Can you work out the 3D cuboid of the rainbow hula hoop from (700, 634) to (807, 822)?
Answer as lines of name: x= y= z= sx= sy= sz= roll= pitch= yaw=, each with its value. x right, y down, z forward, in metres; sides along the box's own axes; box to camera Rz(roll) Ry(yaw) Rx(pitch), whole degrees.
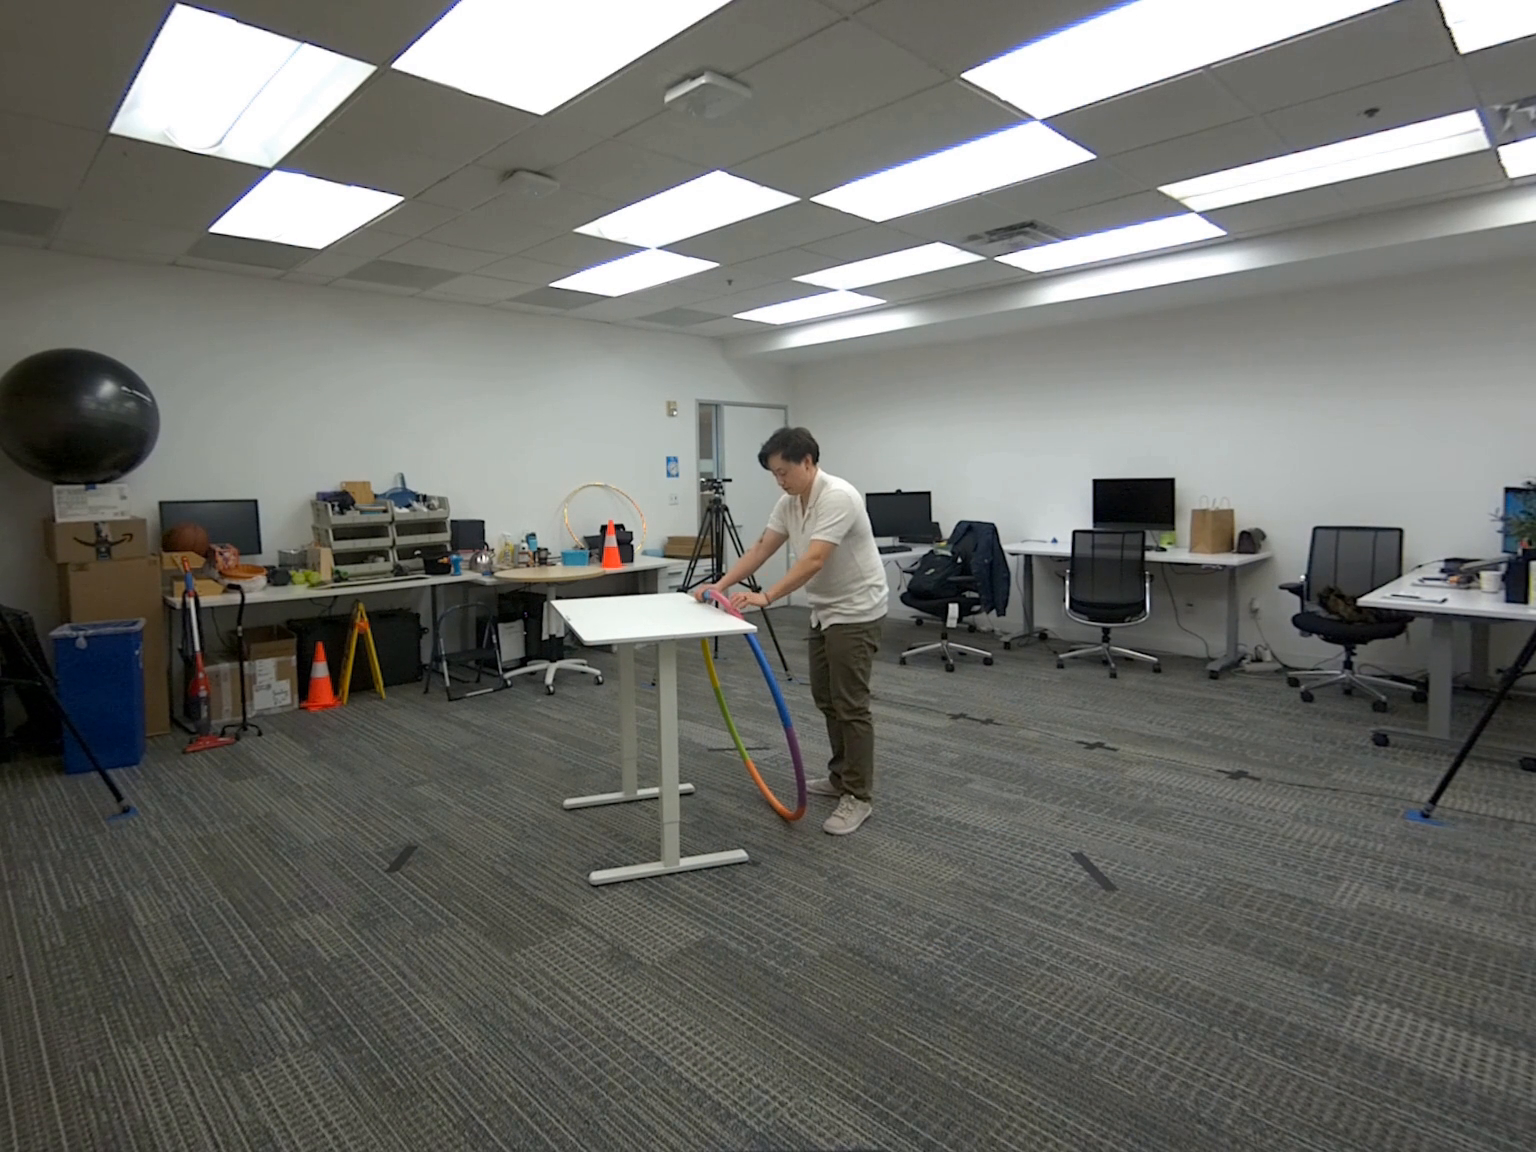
rainbow hula hoop: x=-0.073 y=0.524 z=3.520 sx=0.035 sy=0.969 sz=0.999 roll=-19 pitch=10 yaw=-17
